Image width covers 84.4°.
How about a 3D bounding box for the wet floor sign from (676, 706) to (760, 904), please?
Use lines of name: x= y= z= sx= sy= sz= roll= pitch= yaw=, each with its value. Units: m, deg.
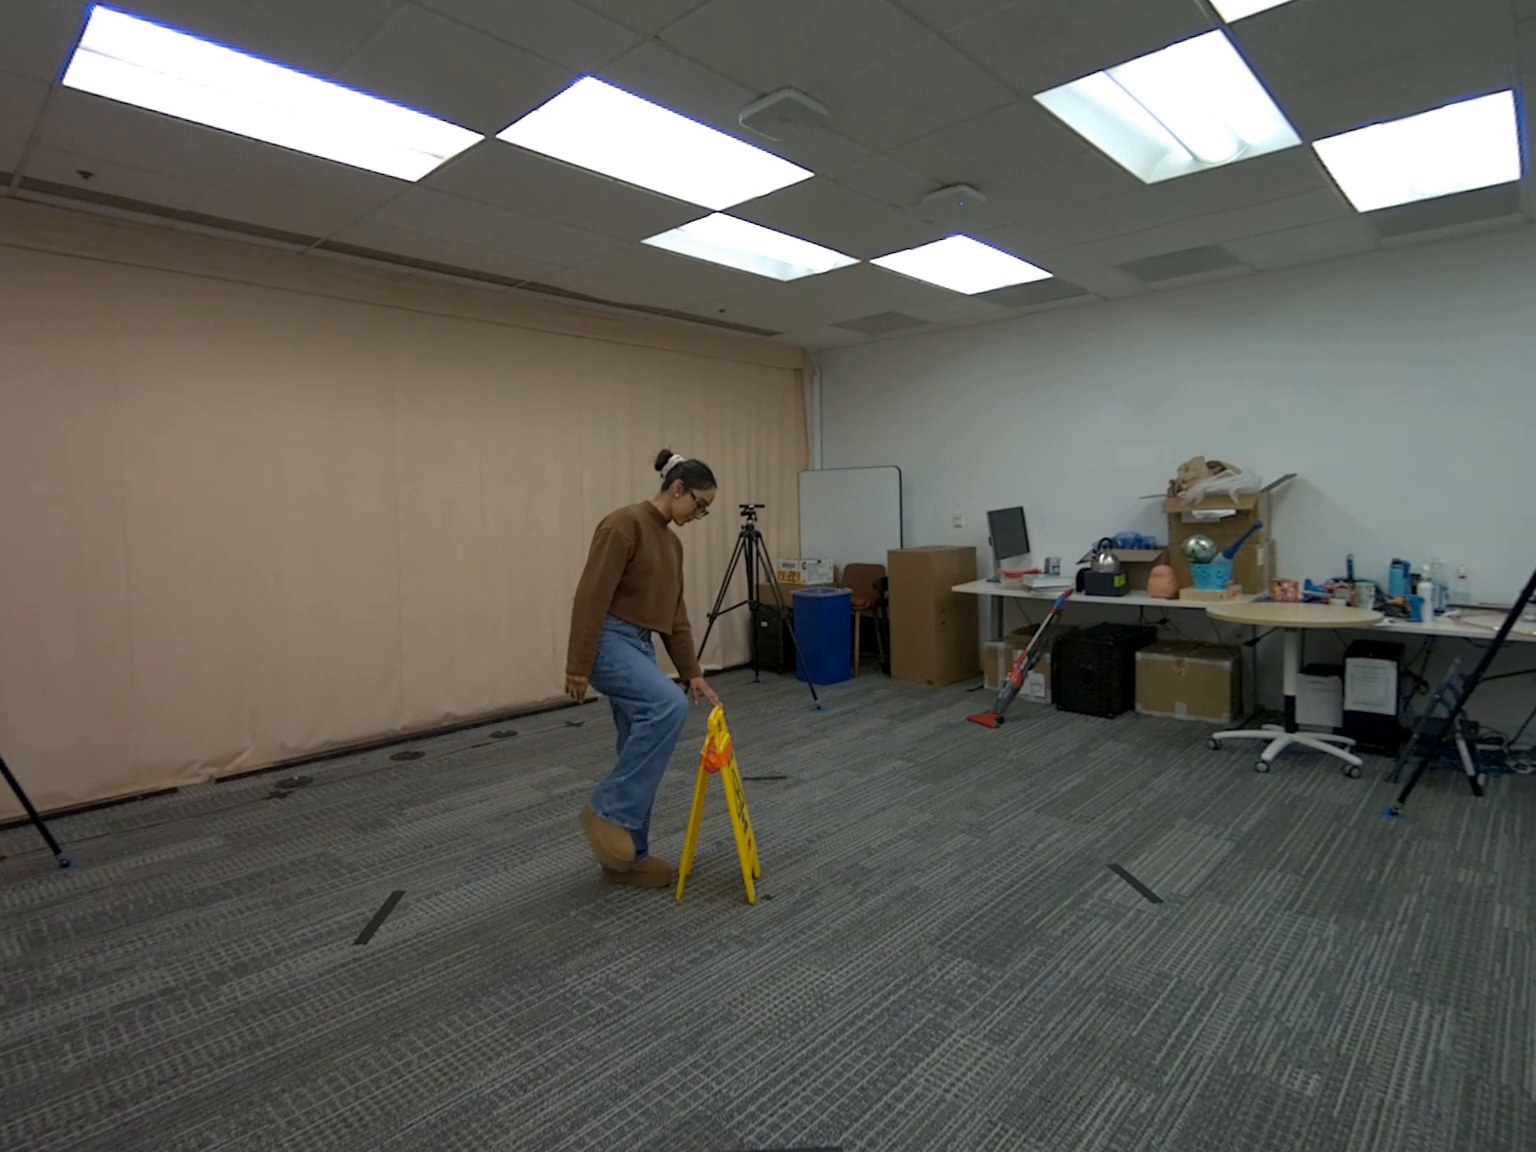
wet floor sign: x=-0.185 y=0.820 z=3.060 sx=0.292 sy=0.644 sz=0.280 roll=-1 pitch=4 yaw=8
